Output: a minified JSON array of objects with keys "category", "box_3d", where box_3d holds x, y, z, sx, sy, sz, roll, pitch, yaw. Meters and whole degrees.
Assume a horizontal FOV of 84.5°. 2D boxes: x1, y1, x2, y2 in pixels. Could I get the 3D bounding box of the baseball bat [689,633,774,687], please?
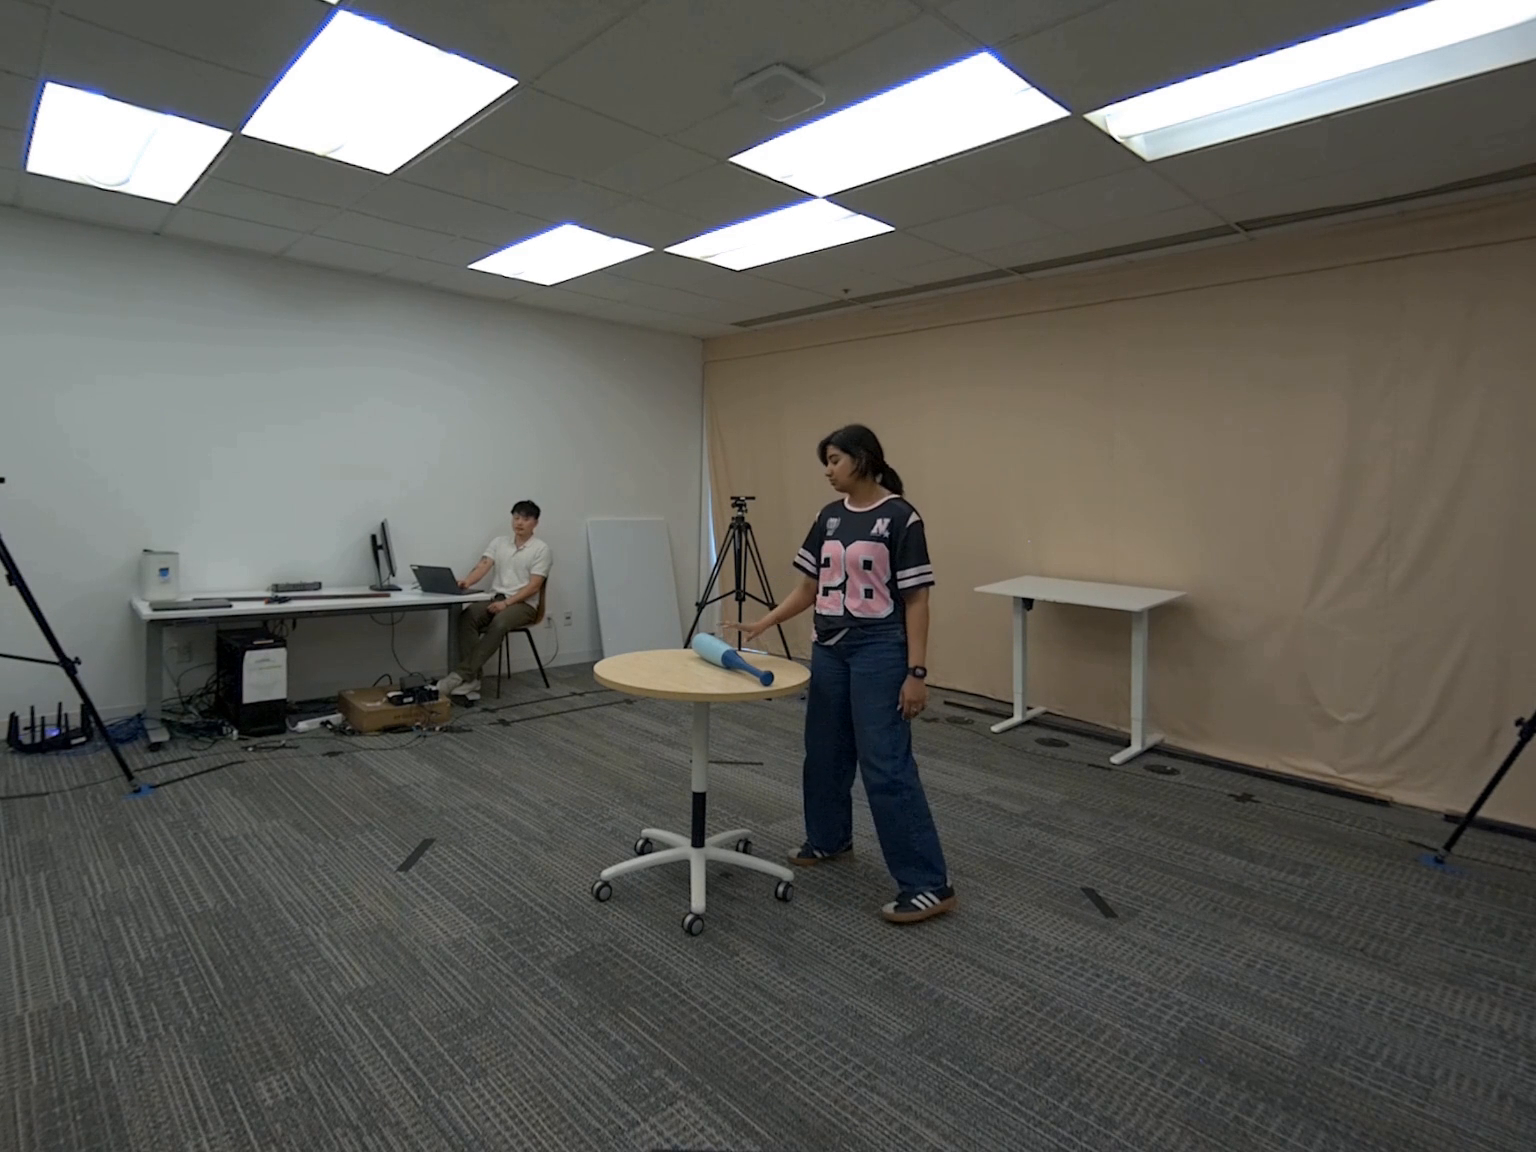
[{"category":"baseball bat","box_3d":[-0.122,0.298,2.968,0.087,0.088,0.556,-1,9,-28]}]
